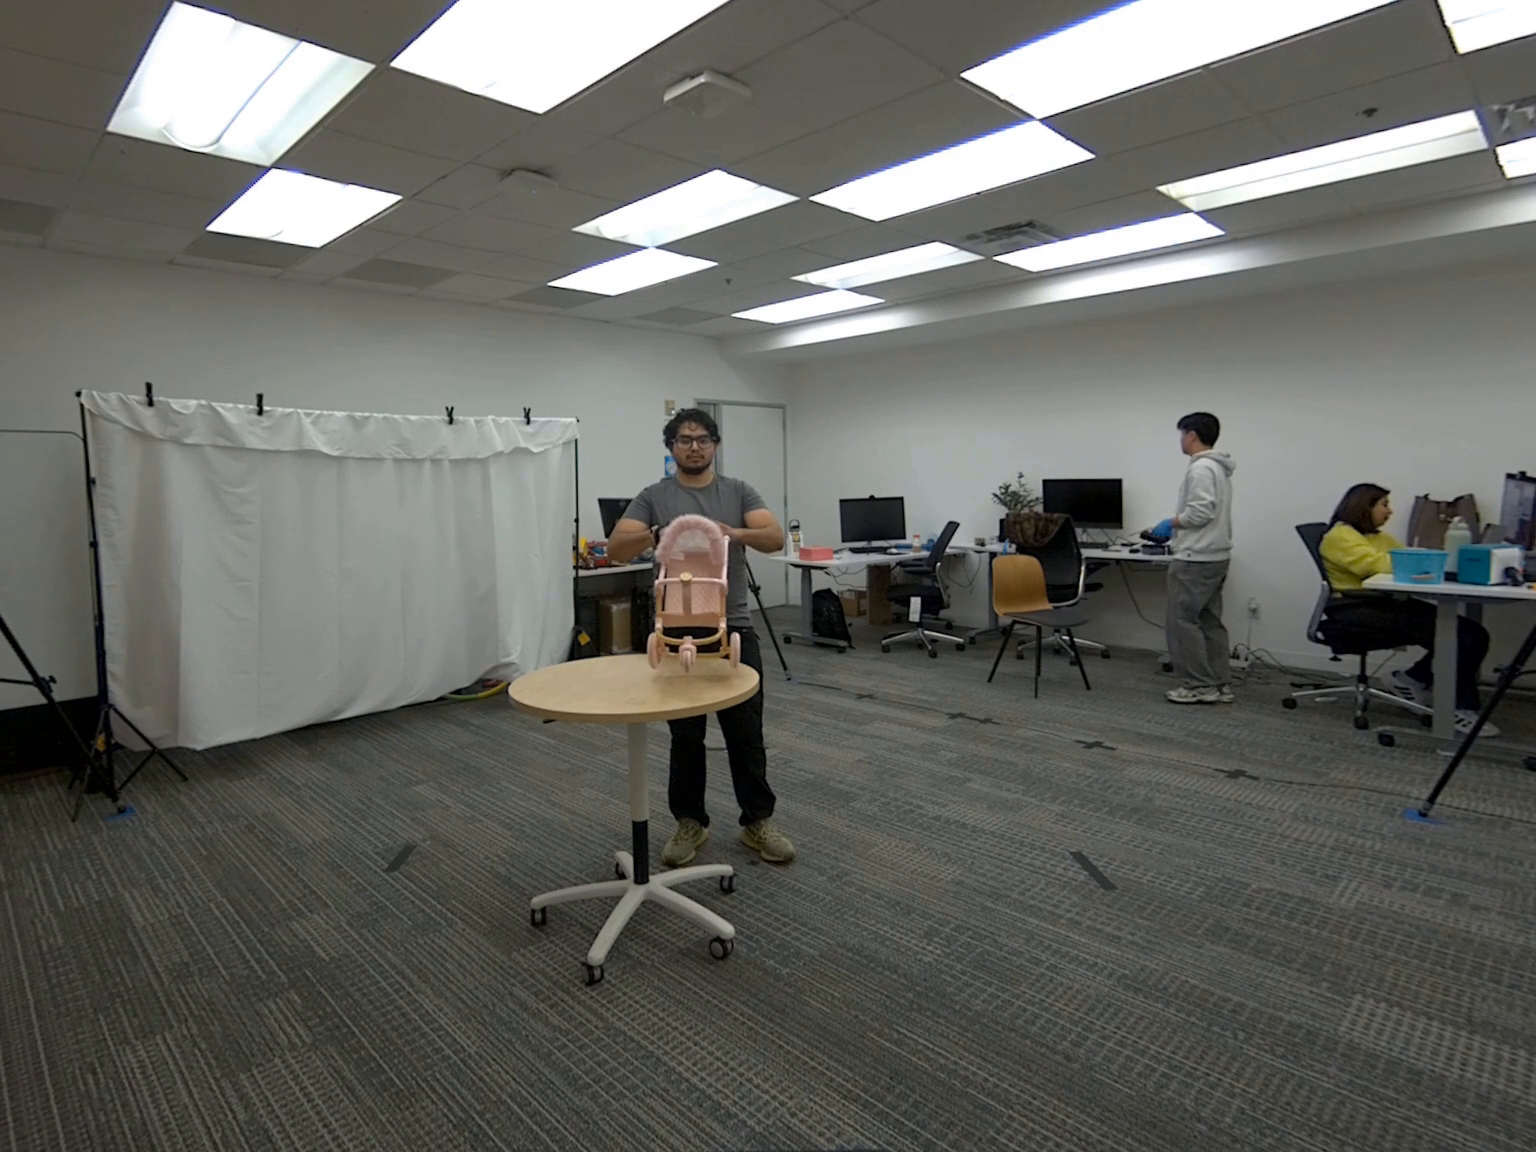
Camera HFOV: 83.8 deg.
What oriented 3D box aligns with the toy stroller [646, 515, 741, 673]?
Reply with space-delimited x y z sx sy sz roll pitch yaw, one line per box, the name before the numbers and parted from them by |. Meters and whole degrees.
toy stroller | -0.230 0.057 2.576 0.283 0.544 0.334 -1 -20 4
